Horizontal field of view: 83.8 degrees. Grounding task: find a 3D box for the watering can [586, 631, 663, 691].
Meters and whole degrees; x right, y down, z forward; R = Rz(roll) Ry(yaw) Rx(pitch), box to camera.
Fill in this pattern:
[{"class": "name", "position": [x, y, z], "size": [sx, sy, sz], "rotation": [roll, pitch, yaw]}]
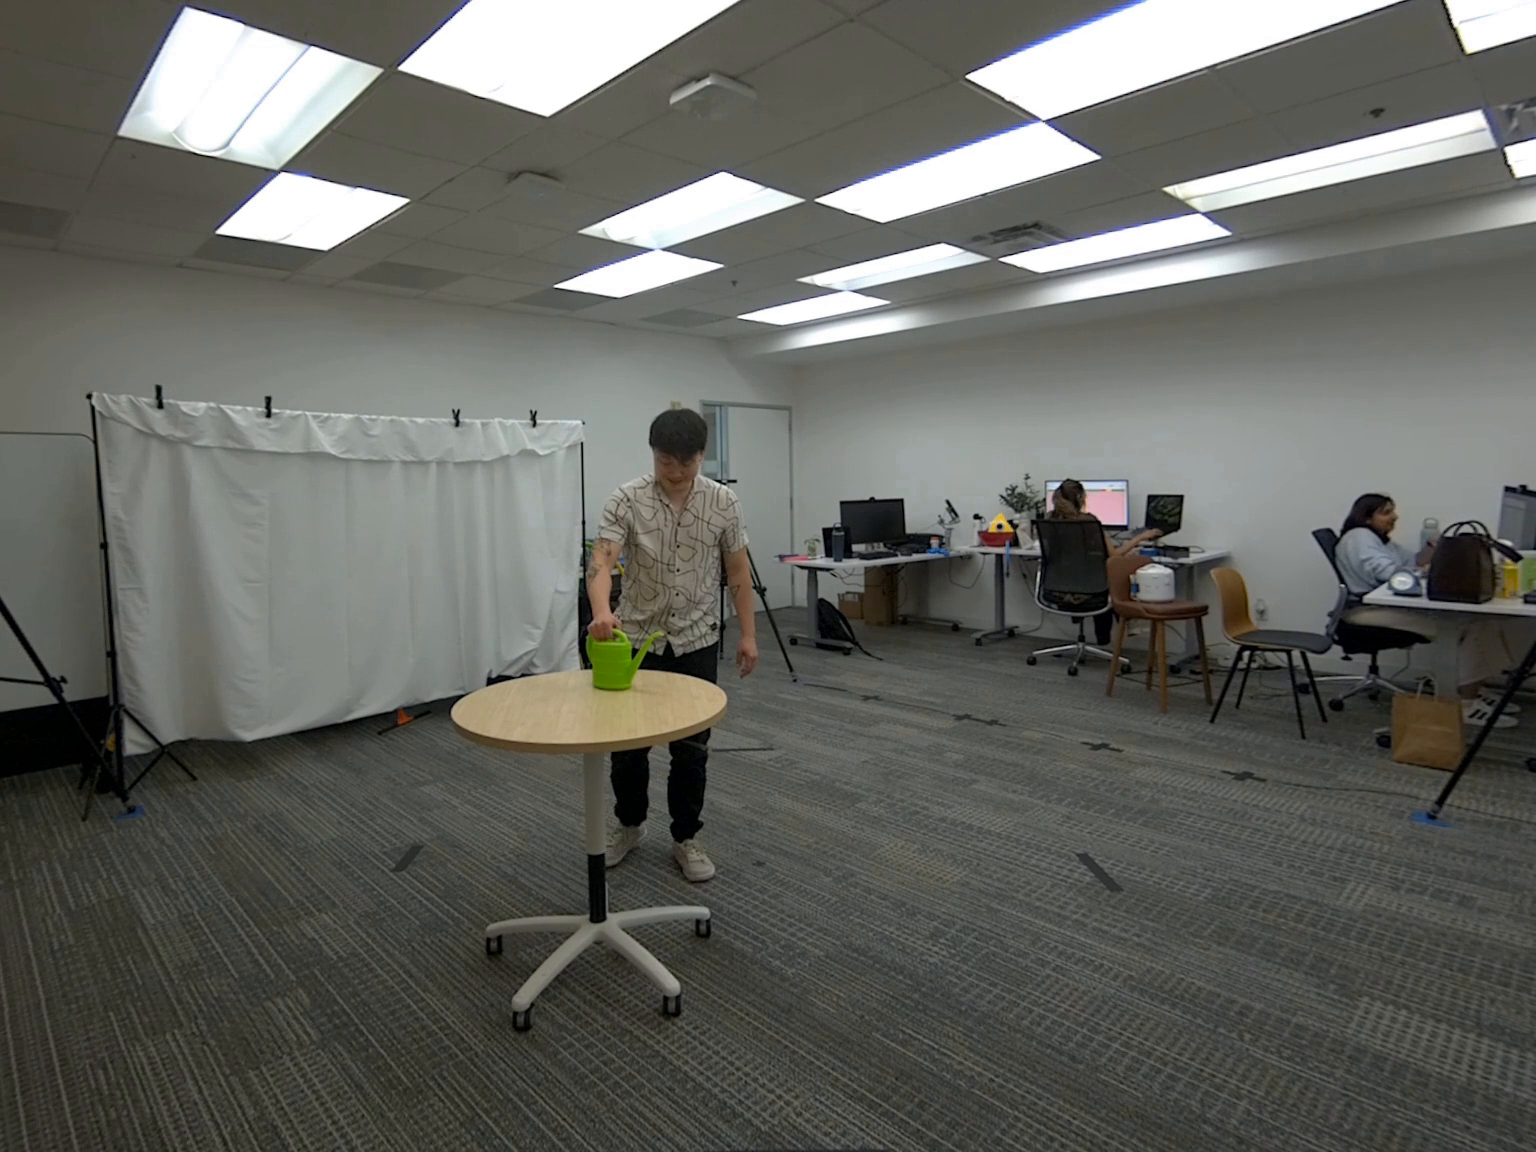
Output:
[{"class": "watering can", "position": [-0.444, 0.251, 2.541], "size": [0.286, 0.176, 0.095], "rotation": [2, 5, 42]}]
